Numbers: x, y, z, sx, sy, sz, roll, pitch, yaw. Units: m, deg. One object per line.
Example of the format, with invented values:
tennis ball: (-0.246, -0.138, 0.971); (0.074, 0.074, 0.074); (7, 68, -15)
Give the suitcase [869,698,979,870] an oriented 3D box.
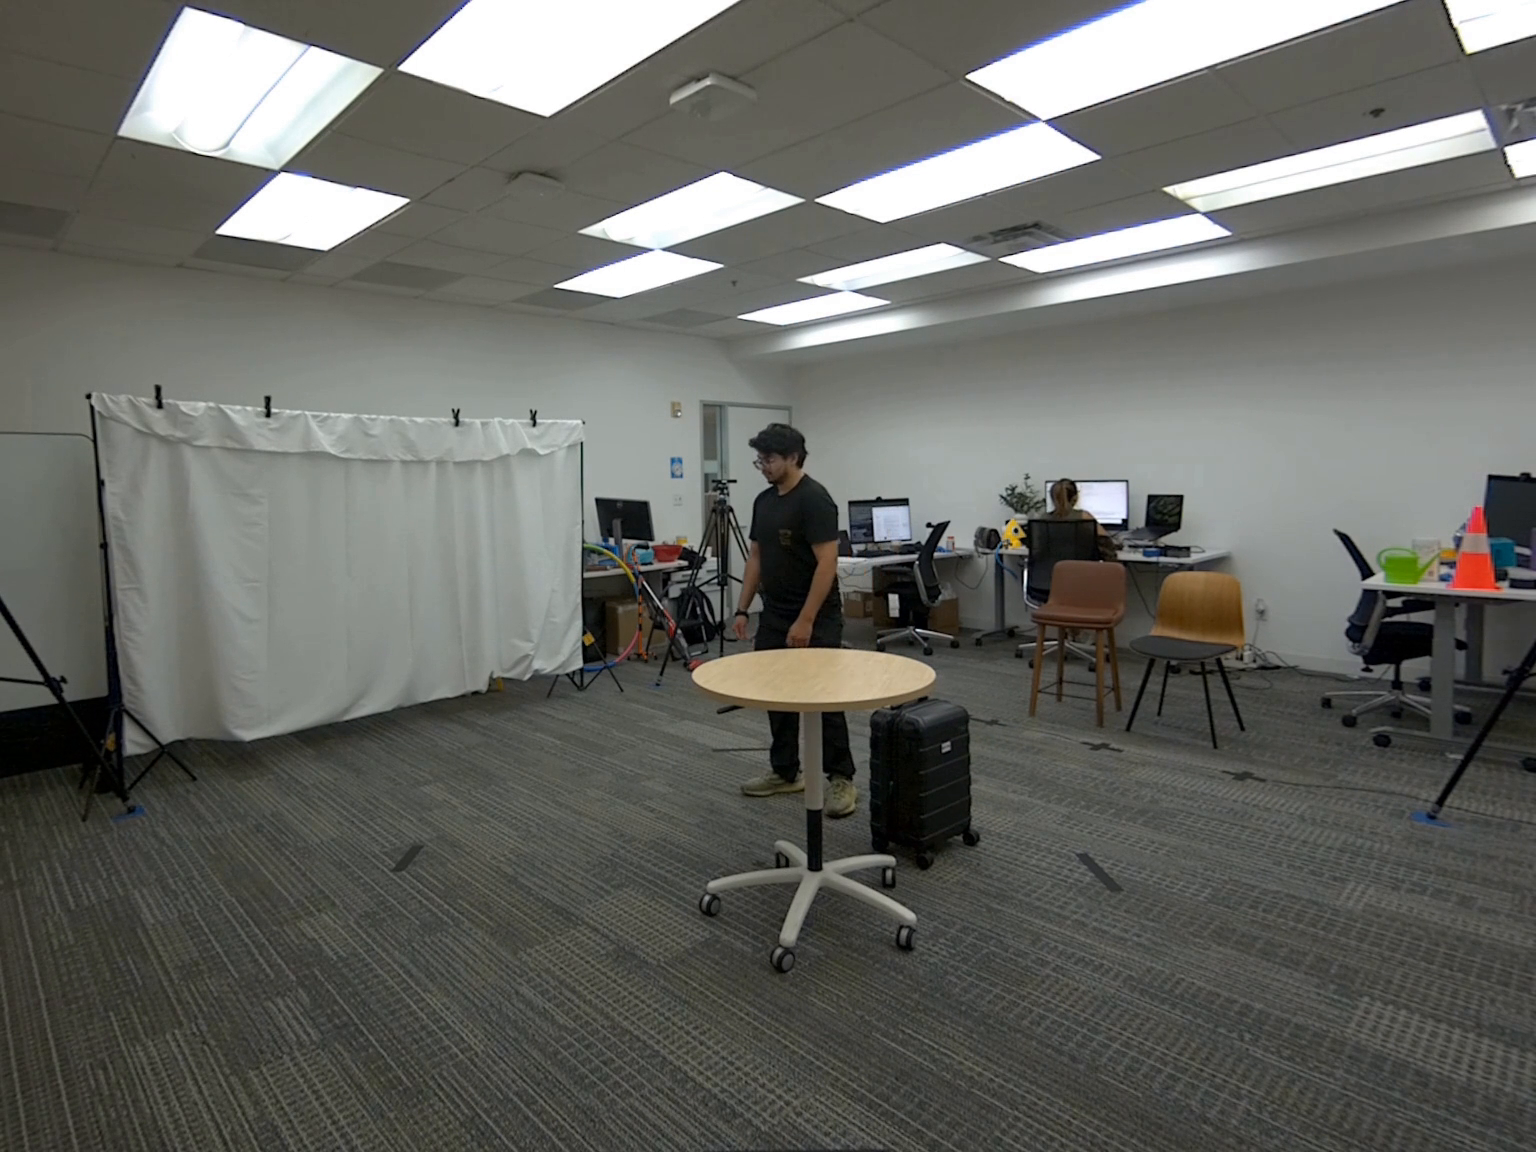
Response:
suitcase: (0.587, 0.745, 3.221); (0.365, 0.548, 0.255); (-4, 3, -43)
